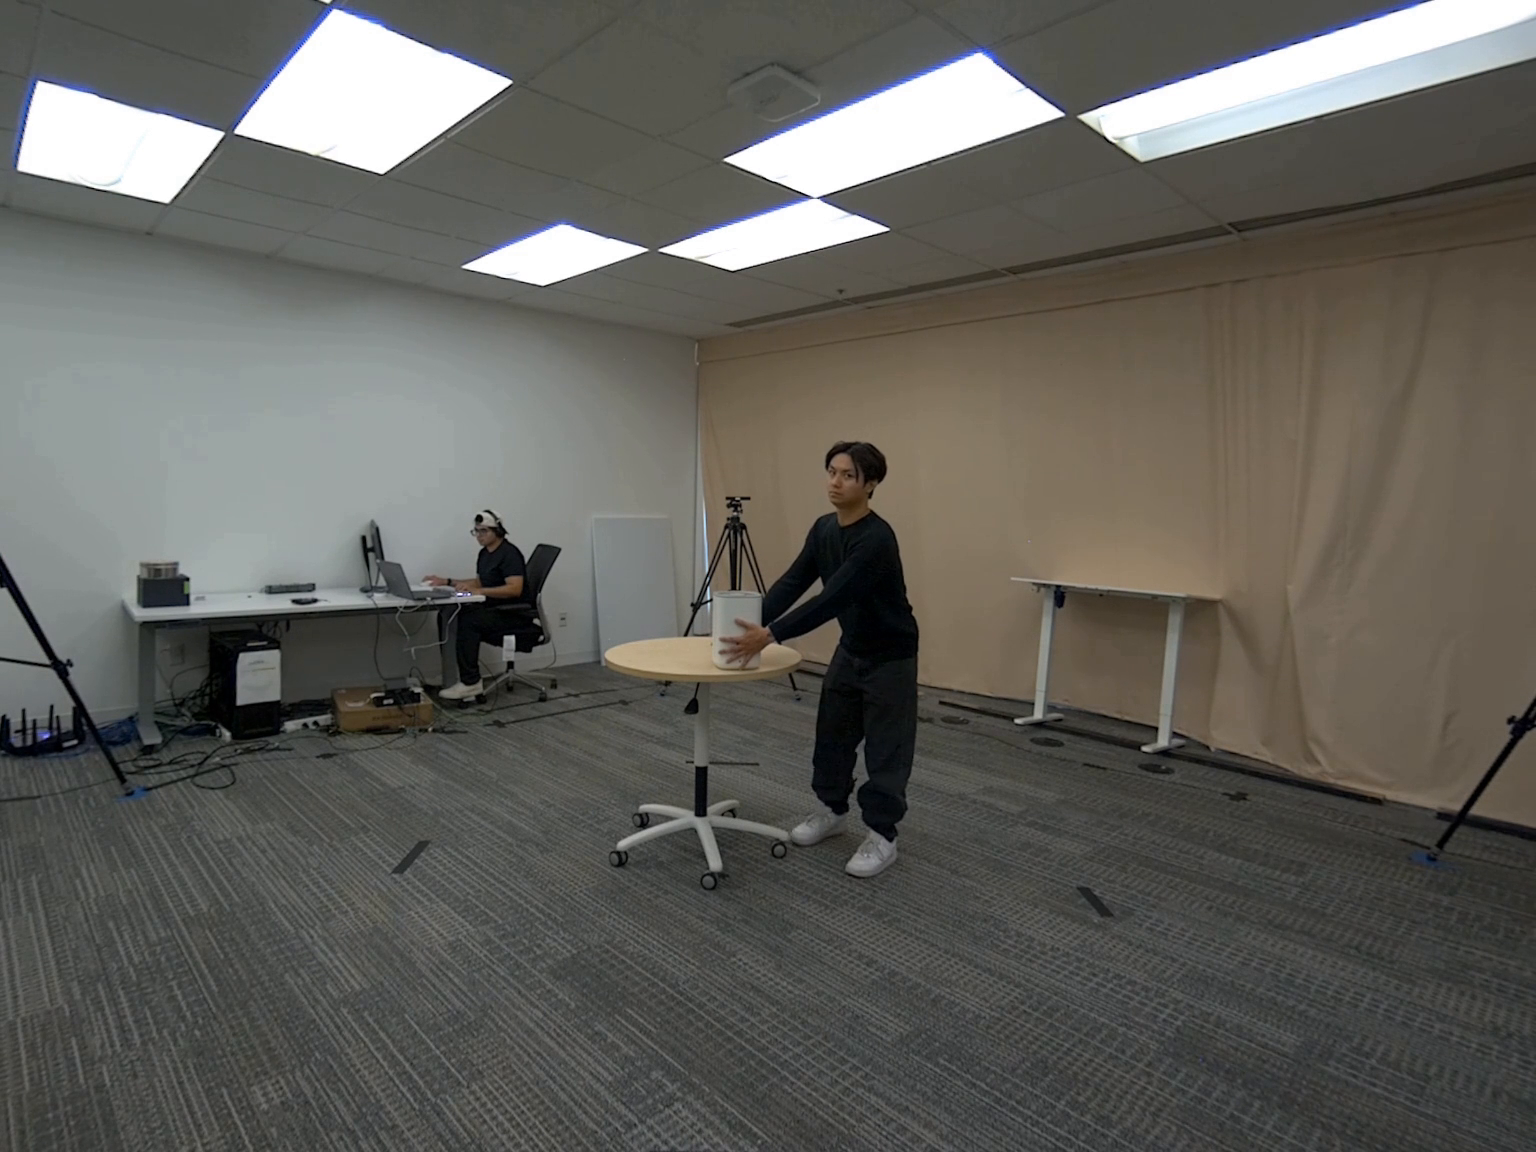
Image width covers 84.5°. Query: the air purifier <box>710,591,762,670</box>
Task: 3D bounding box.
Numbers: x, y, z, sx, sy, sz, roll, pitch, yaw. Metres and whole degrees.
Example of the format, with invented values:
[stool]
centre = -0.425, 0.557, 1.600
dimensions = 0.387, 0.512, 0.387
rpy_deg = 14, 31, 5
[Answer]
[air purifier]
centre = -0.118, 0.194, 3.059
dimensions = 0.170, 0.265, 0.173
rpy_deg = 4, 3, -9
